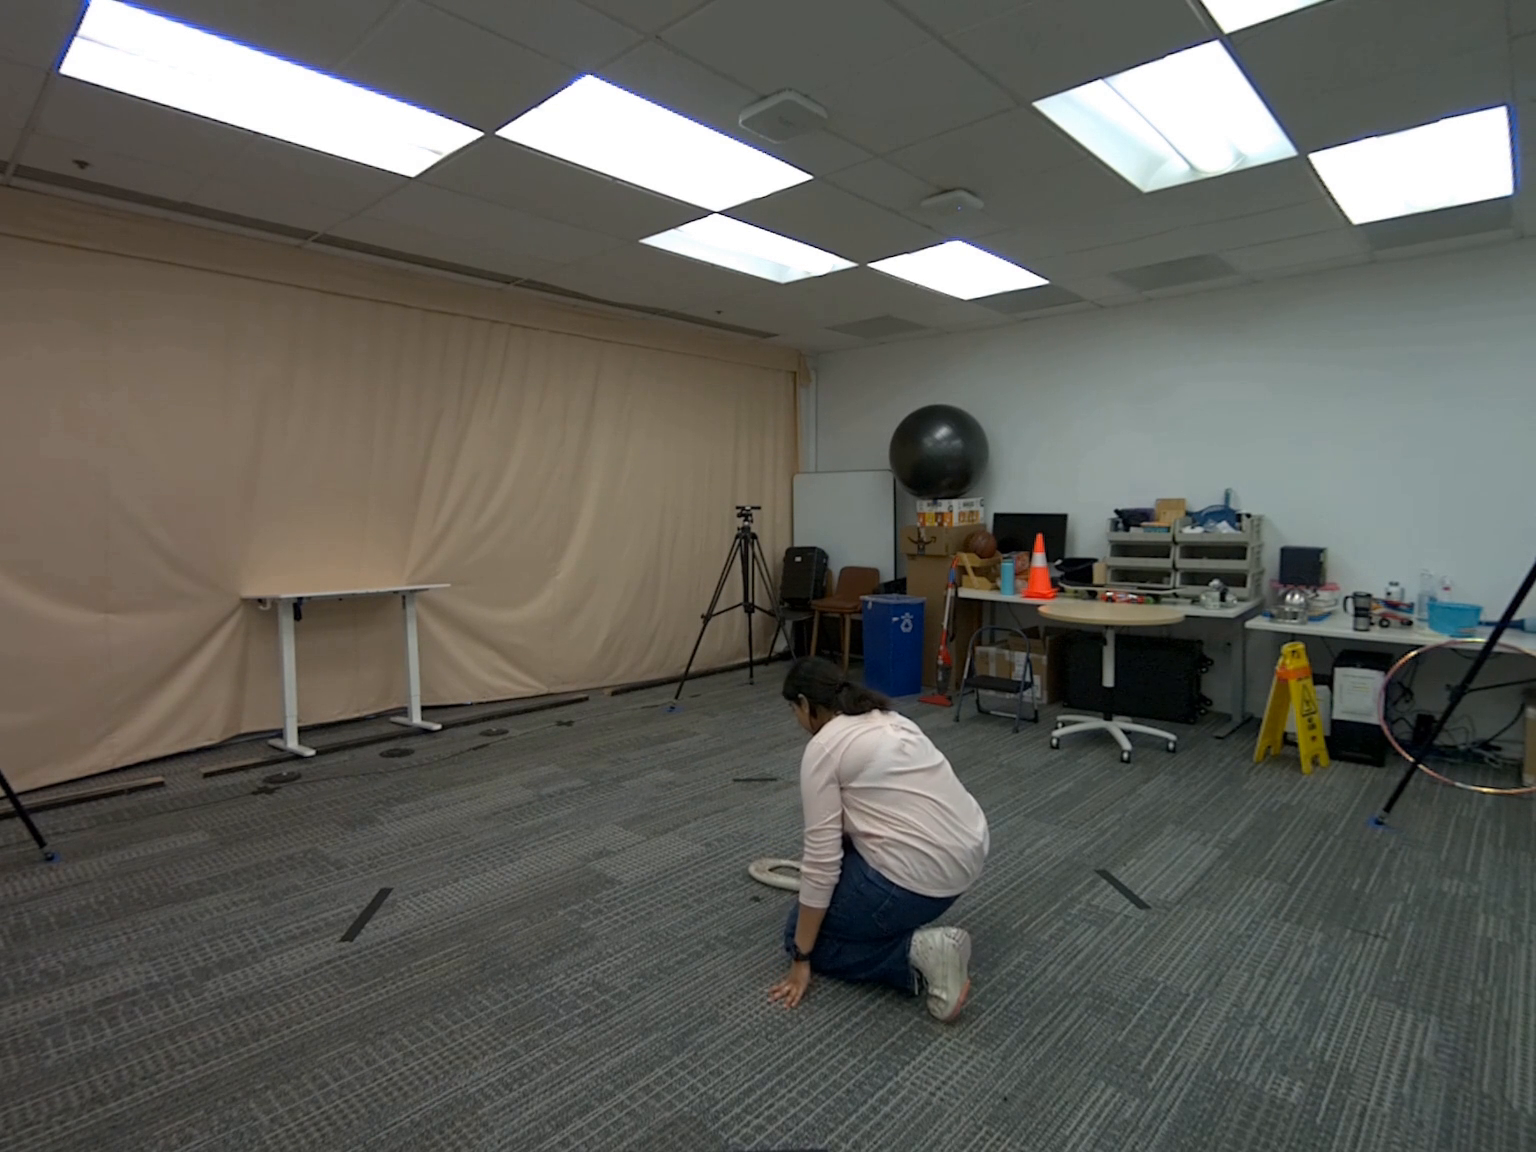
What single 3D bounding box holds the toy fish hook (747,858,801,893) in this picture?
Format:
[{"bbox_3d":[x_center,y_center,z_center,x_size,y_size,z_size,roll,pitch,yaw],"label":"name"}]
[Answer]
[{"bbox_3d":[0.160,1.113,3.074,0.523,0.048,0.218,4,8,40],"label":"toy fish hook"}]
